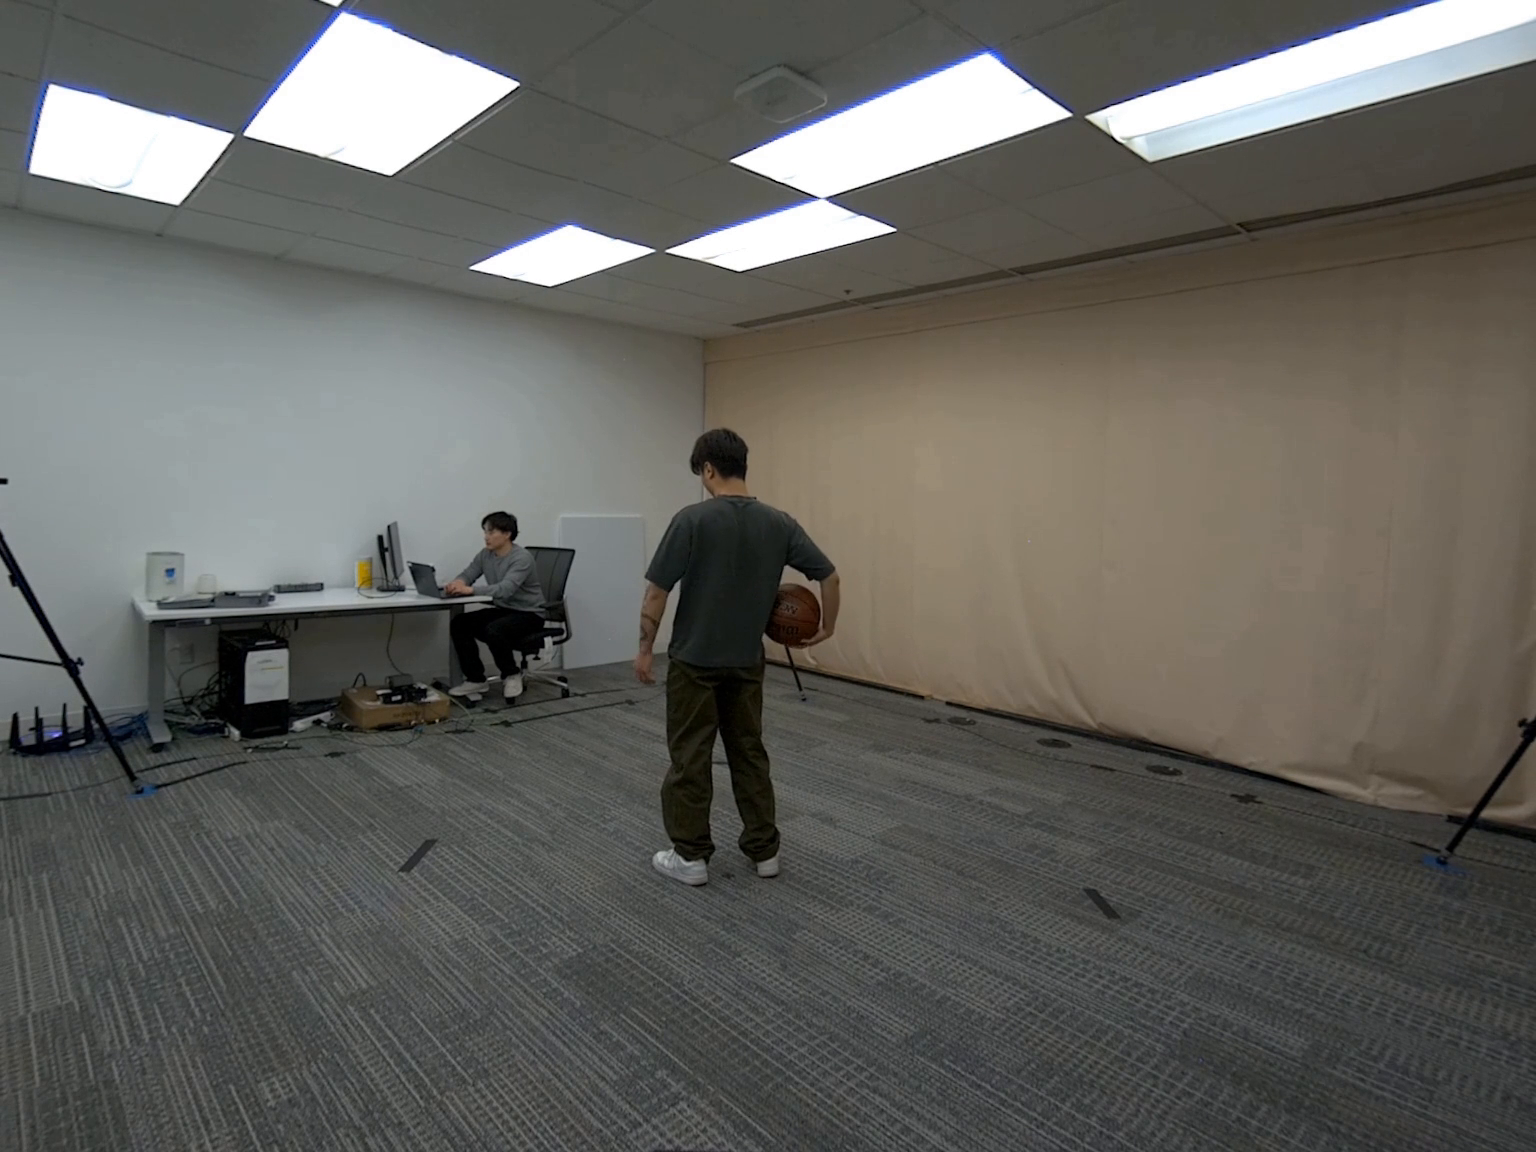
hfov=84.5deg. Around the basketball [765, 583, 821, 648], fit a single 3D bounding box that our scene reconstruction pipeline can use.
[{"bbox_3d":[0.057,0.143,3.224,0.236,0.235,0.237,1,4,-1],"label":"basketball"}]
